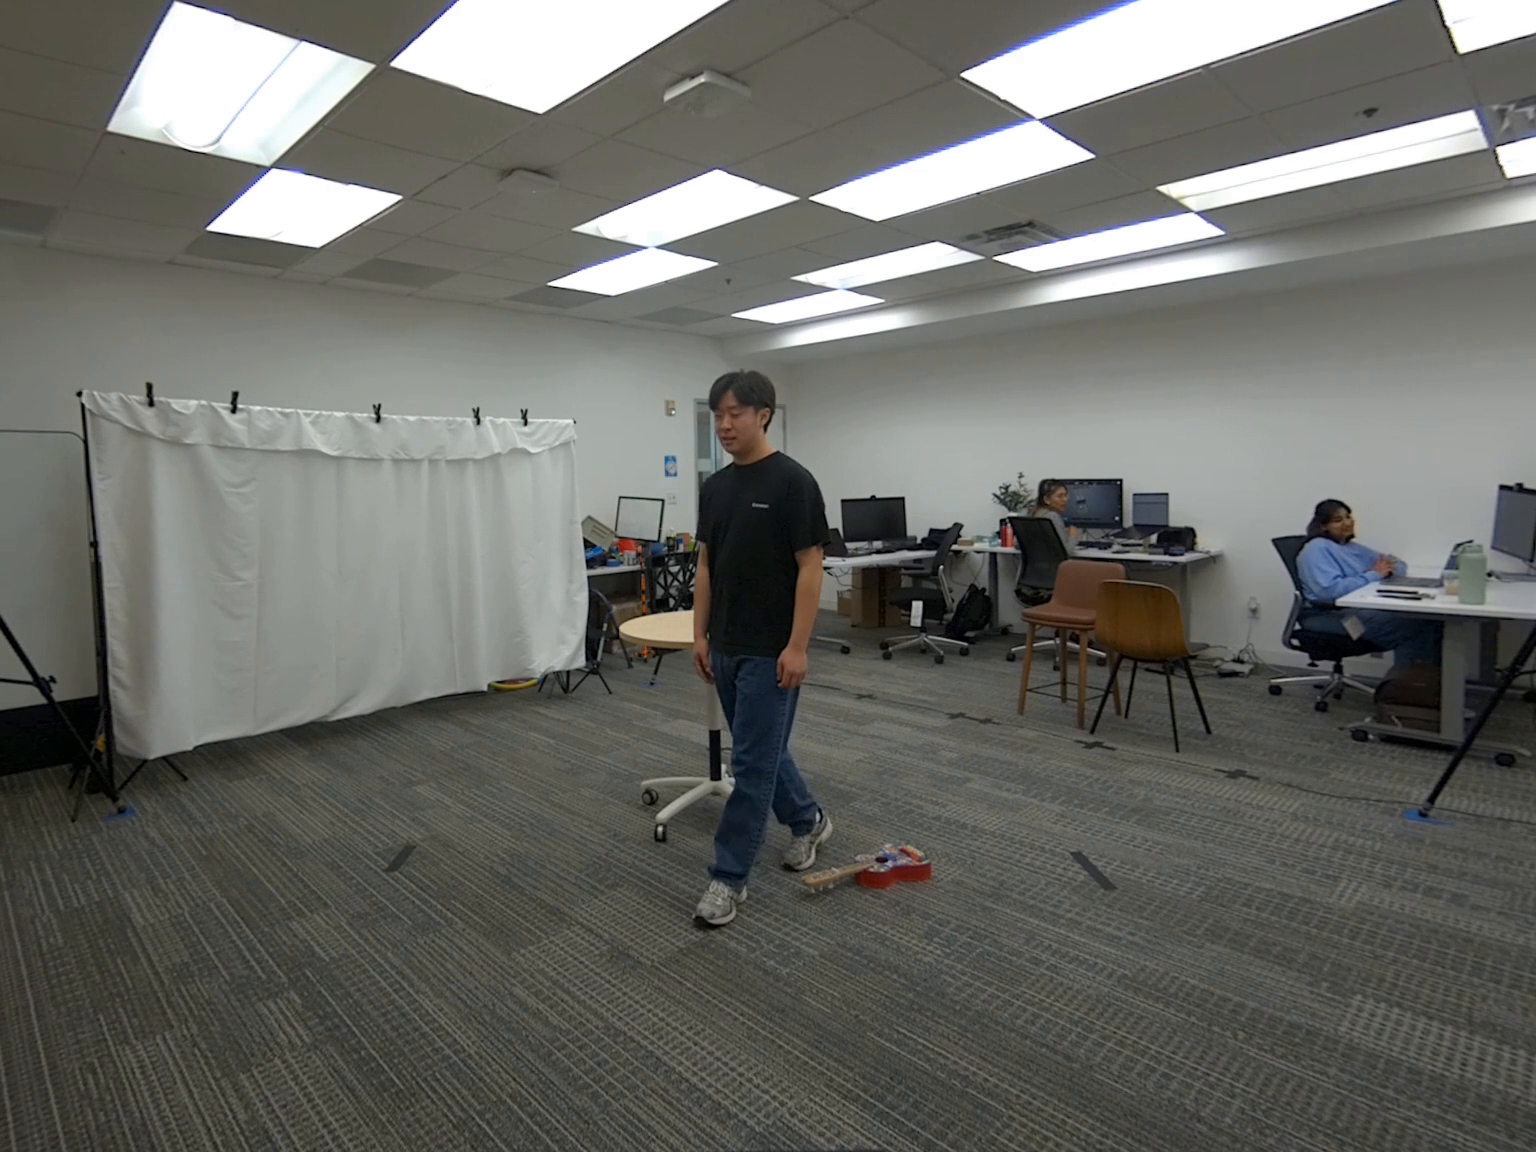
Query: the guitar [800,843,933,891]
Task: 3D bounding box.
[{"bbox_3d":[0.324,1.017,2.969,0.489,0.070,0.197,-3,7,-20],"label":"guitar"}]
